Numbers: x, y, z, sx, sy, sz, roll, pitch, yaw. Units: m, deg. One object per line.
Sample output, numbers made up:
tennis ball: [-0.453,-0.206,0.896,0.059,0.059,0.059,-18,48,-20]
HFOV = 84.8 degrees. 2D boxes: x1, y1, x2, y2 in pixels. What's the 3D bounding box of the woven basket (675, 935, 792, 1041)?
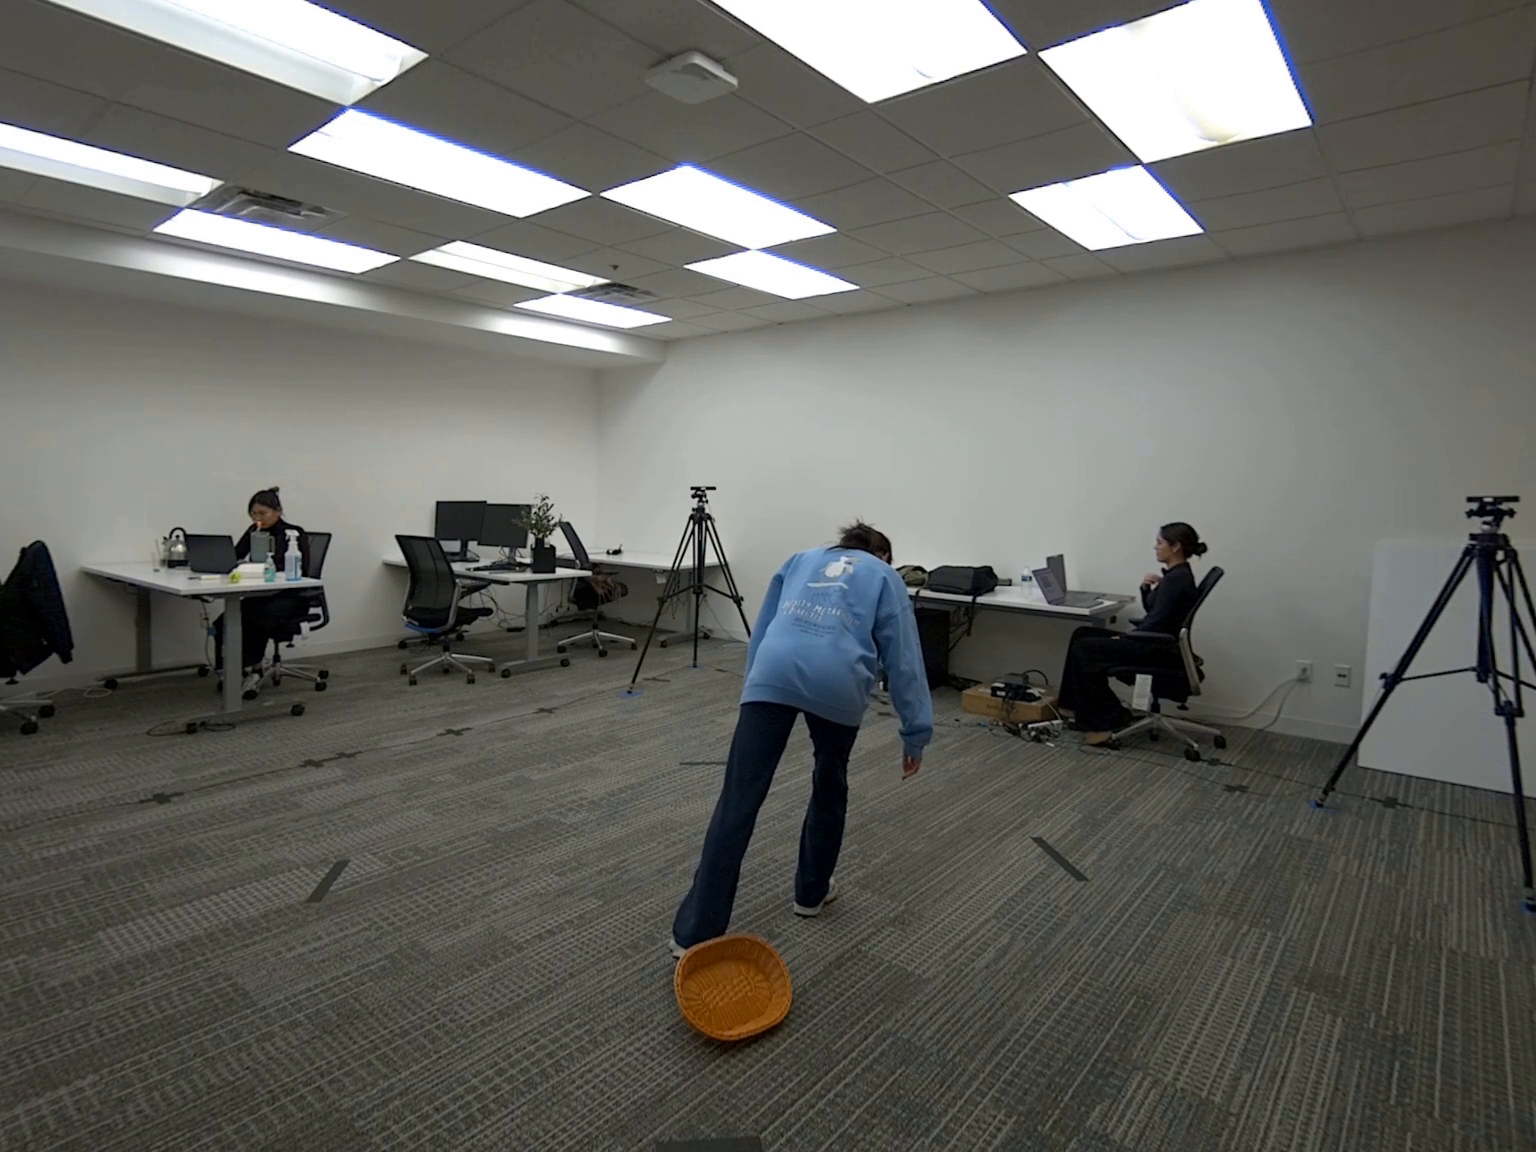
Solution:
woven basket: [-0.096,1.083,2.217,0.340,0.072,0.263,-1,40,-34]
